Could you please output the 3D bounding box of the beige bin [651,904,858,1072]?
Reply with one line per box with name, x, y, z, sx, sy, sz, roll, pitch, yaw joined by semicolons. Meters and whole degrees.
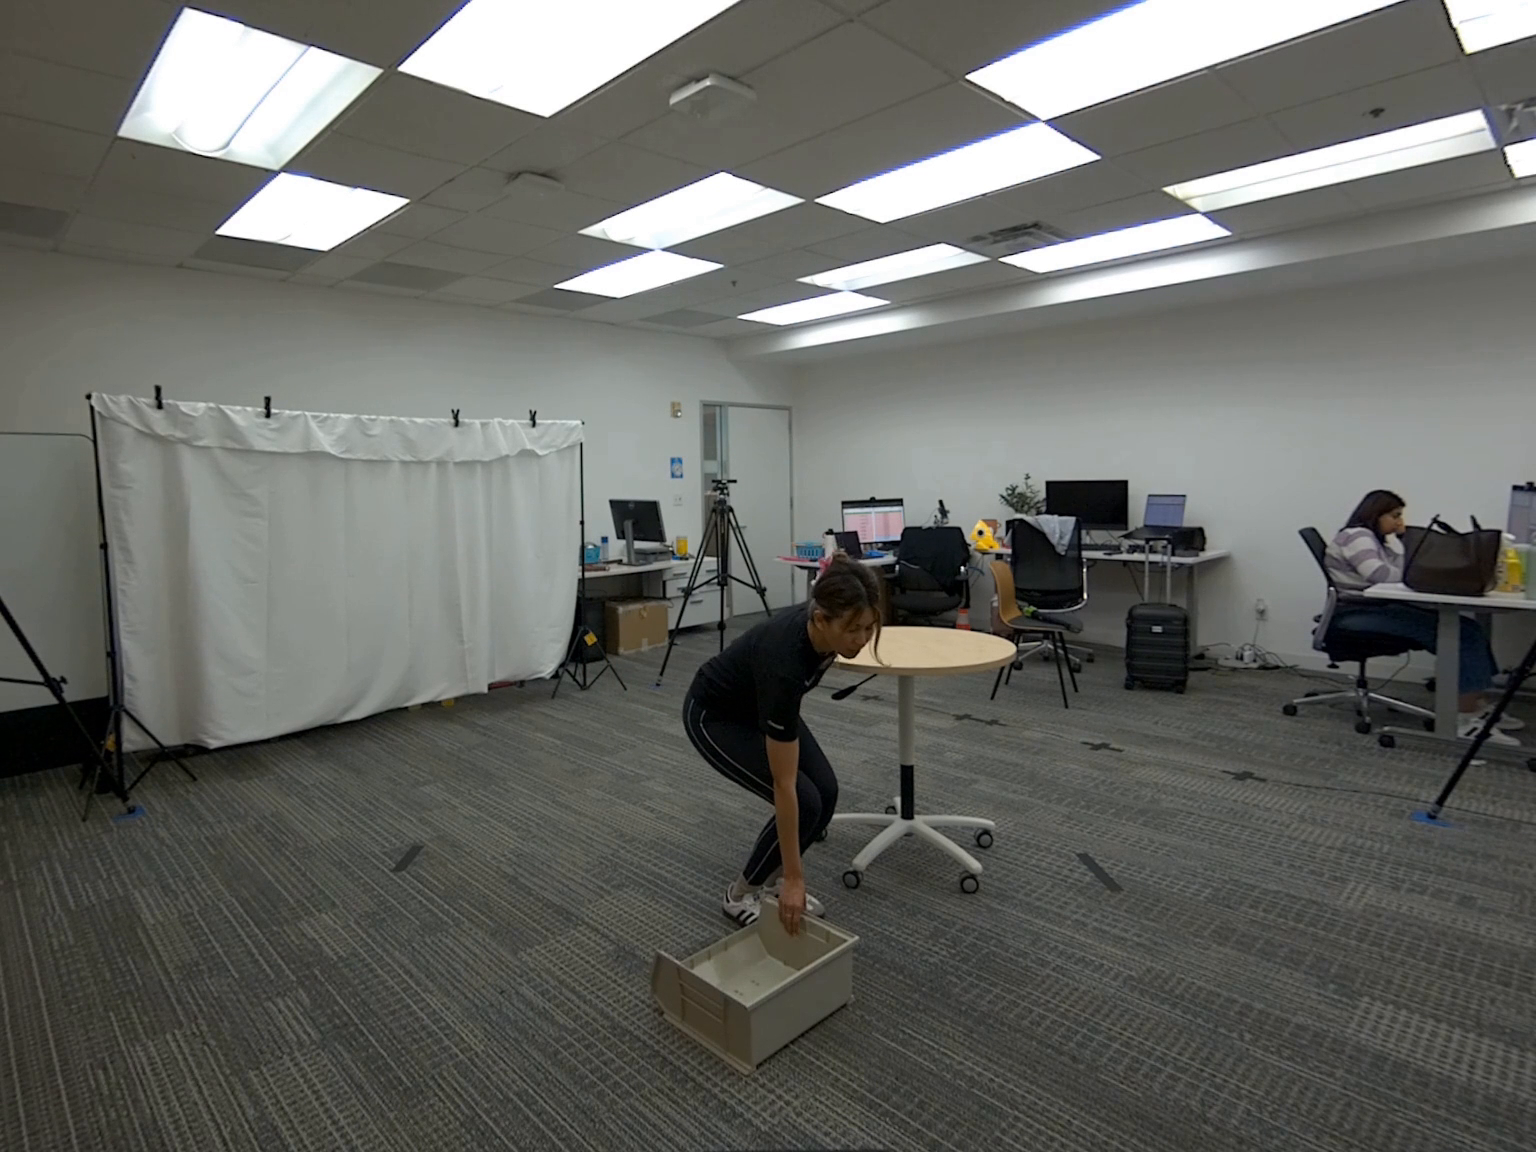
beige bin;-0.030;1.059;2.263;0.389;0.188;0.411;6;8;44
